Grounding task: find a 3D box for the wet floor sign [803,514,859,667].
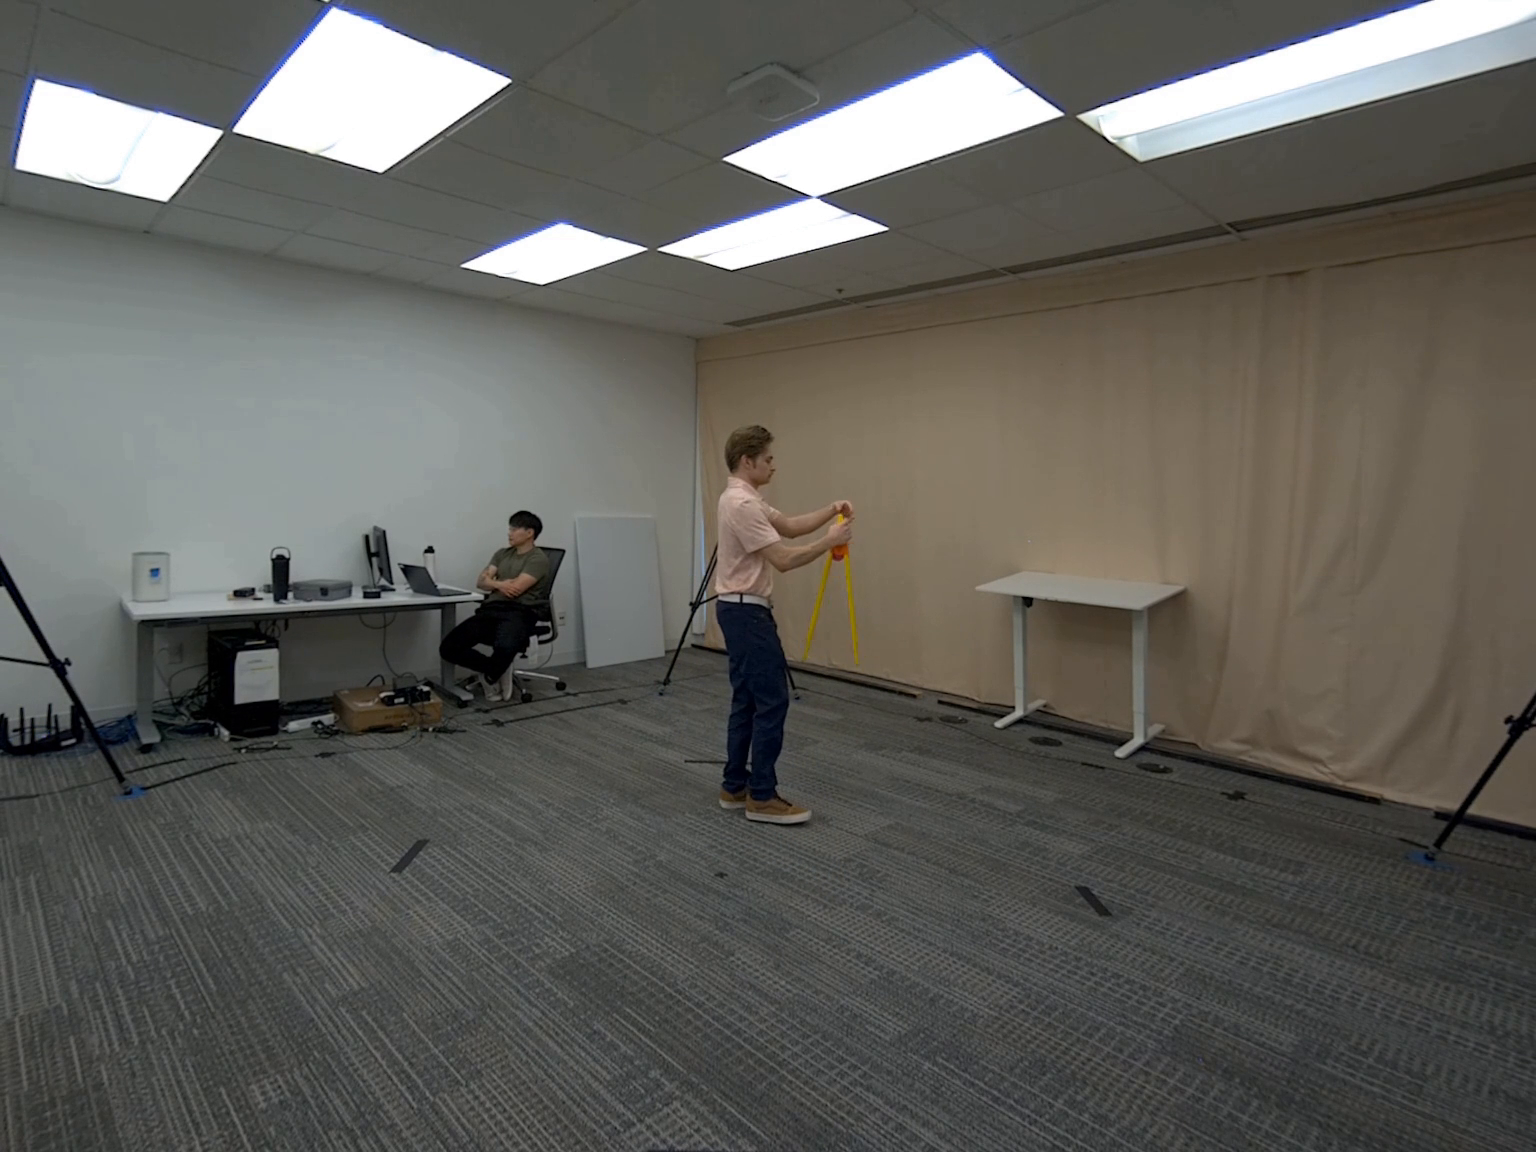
[{"bbox_3d":[0.301,0.051,3.794,0.292,0.645,0.280,3,1,7],"label":"wet floor sign"}]
